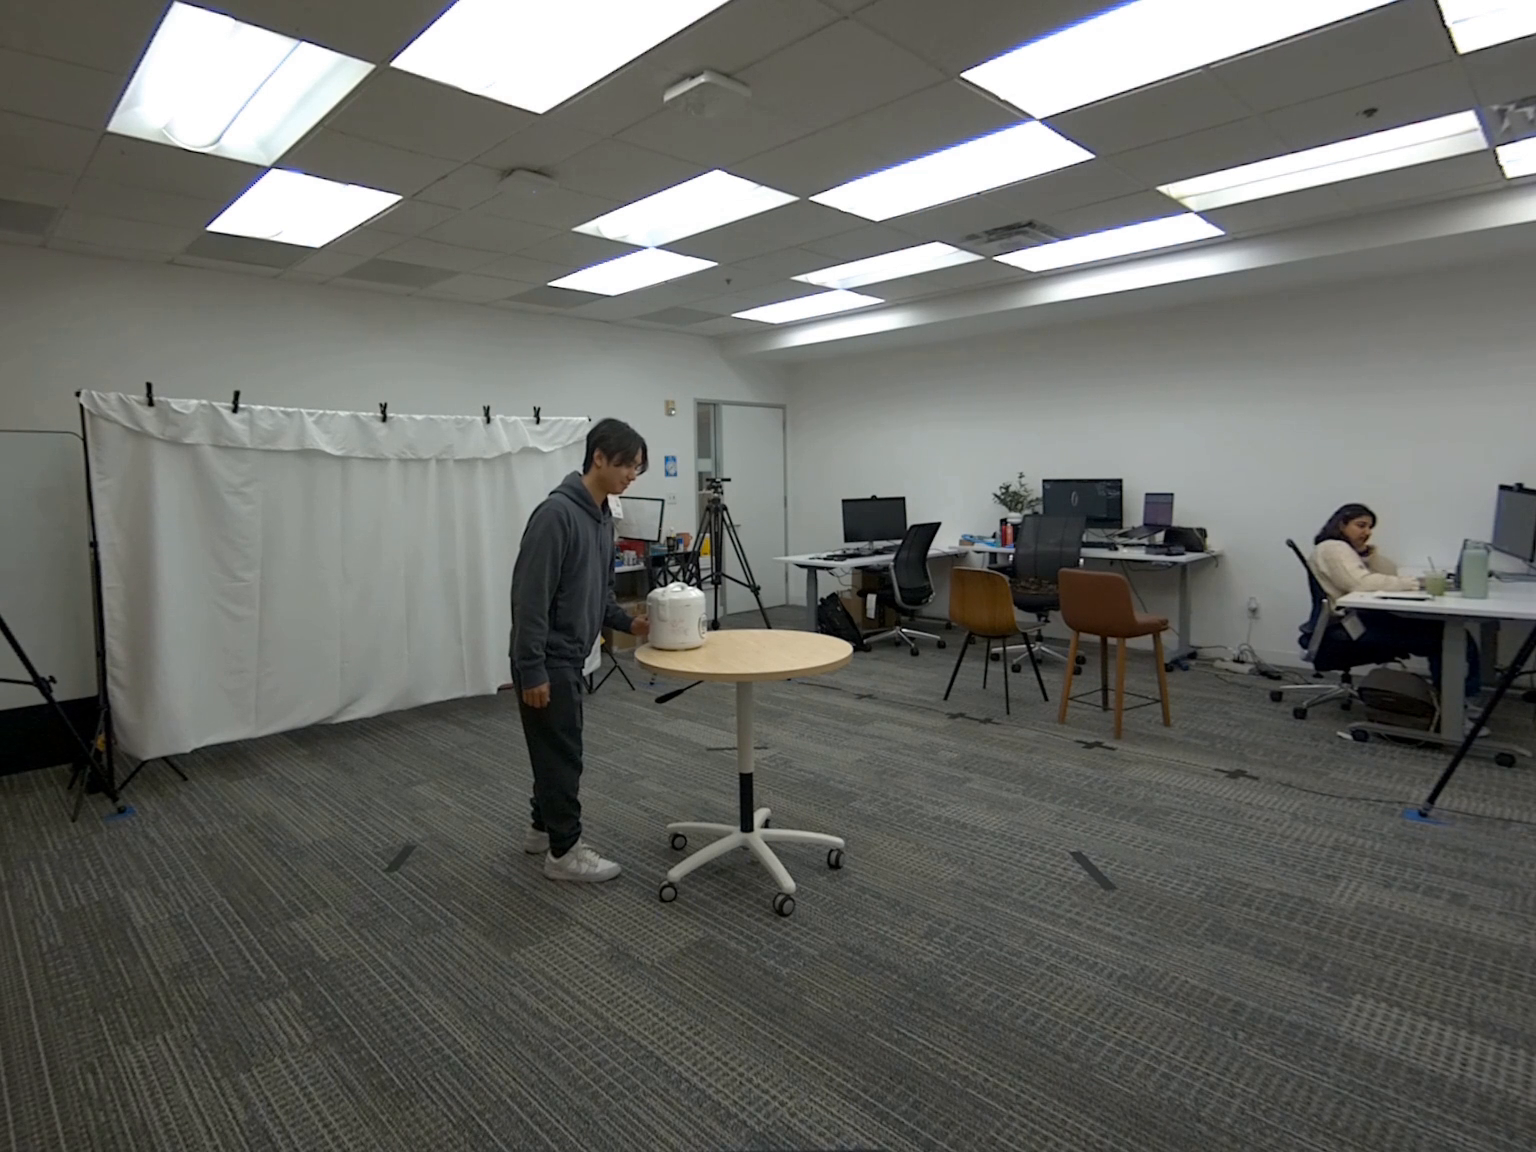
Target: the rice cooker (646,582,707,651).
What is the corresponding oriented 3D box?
[{"bbox_3d":[-0.329,0.139,3.080,0.222,0.232,0.216,0,5,25],"label":"rice cooker"}]
